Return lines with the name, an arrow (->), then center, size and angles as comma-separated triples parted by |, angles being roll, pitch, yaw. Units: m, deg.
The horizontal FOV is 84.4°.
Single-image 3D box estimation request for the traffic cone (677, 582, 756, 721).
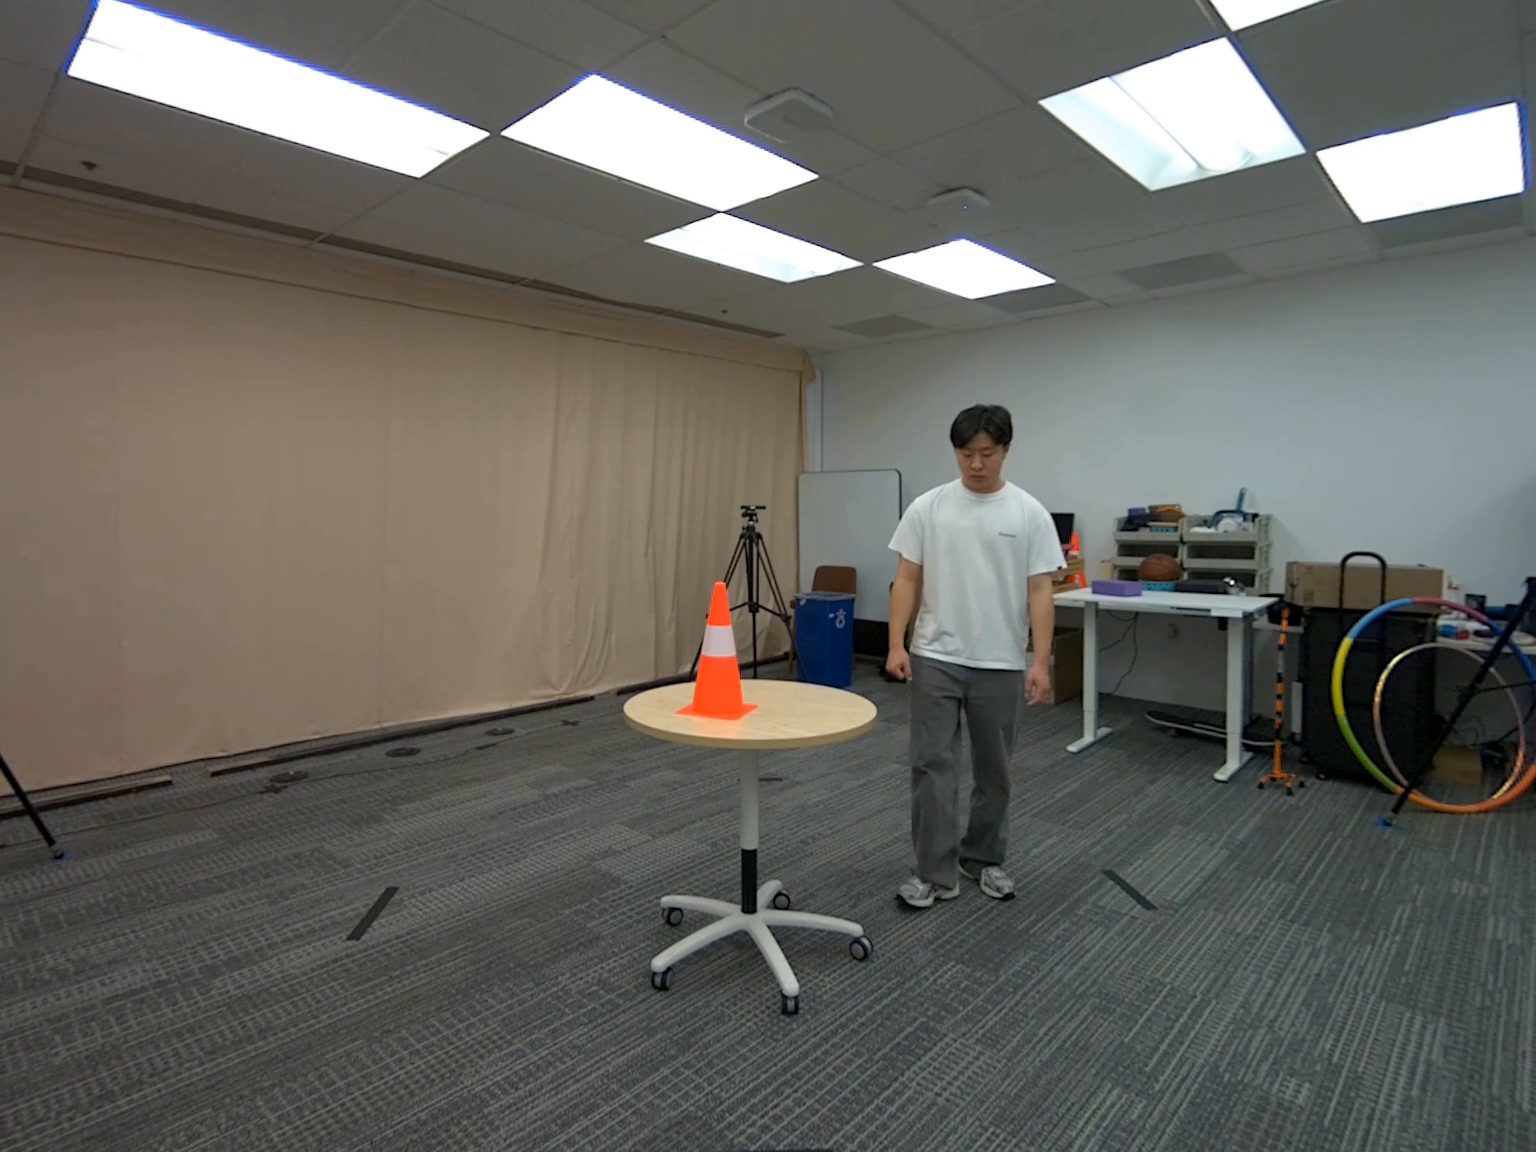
traffic cone -> -0.141, 0.216, 2.505 | 0.210, 0.383, 0.199 | 1, 3, 21
